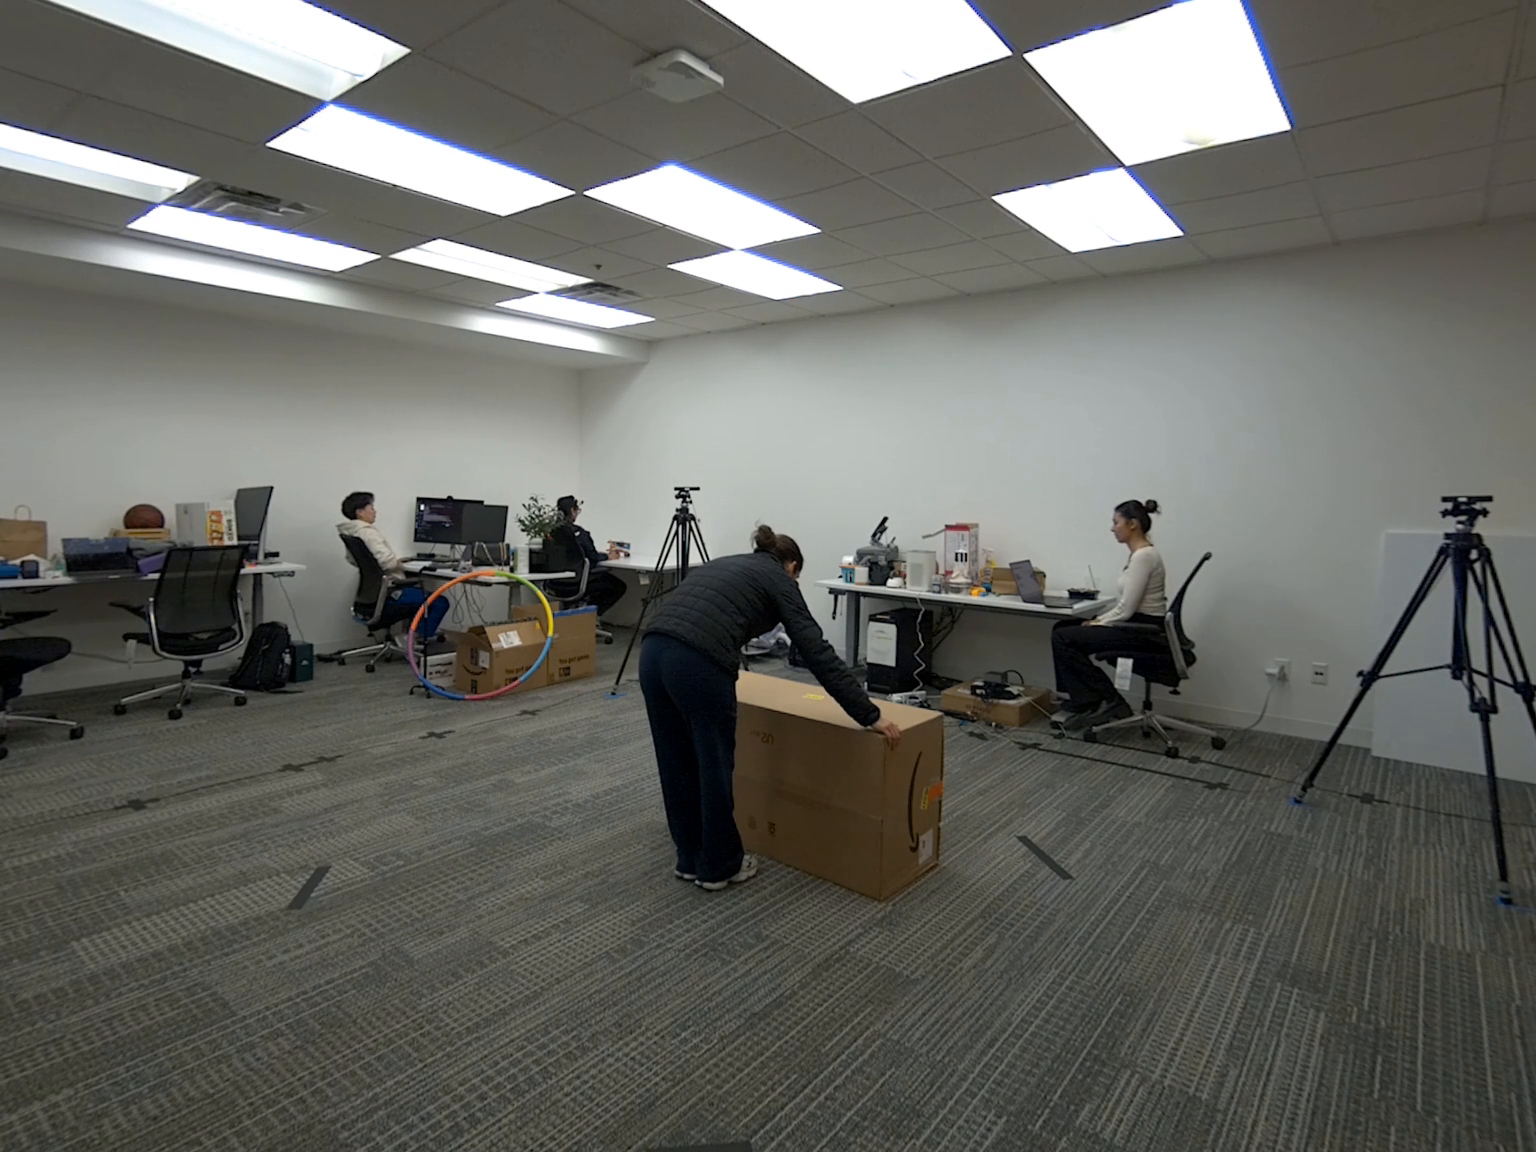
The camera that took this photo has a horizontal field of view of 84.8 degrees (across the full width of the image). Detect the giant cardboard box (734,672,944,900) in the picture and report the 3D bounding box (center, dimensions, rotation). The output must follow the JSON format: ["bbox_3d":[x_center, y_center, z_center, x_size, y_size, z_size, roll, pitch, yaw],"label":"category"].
[{"bbox_3d":[0.142,0.761,3.364,1.062,0.582,0.433,6,6,40],"label":"giant cardboard box"}]
